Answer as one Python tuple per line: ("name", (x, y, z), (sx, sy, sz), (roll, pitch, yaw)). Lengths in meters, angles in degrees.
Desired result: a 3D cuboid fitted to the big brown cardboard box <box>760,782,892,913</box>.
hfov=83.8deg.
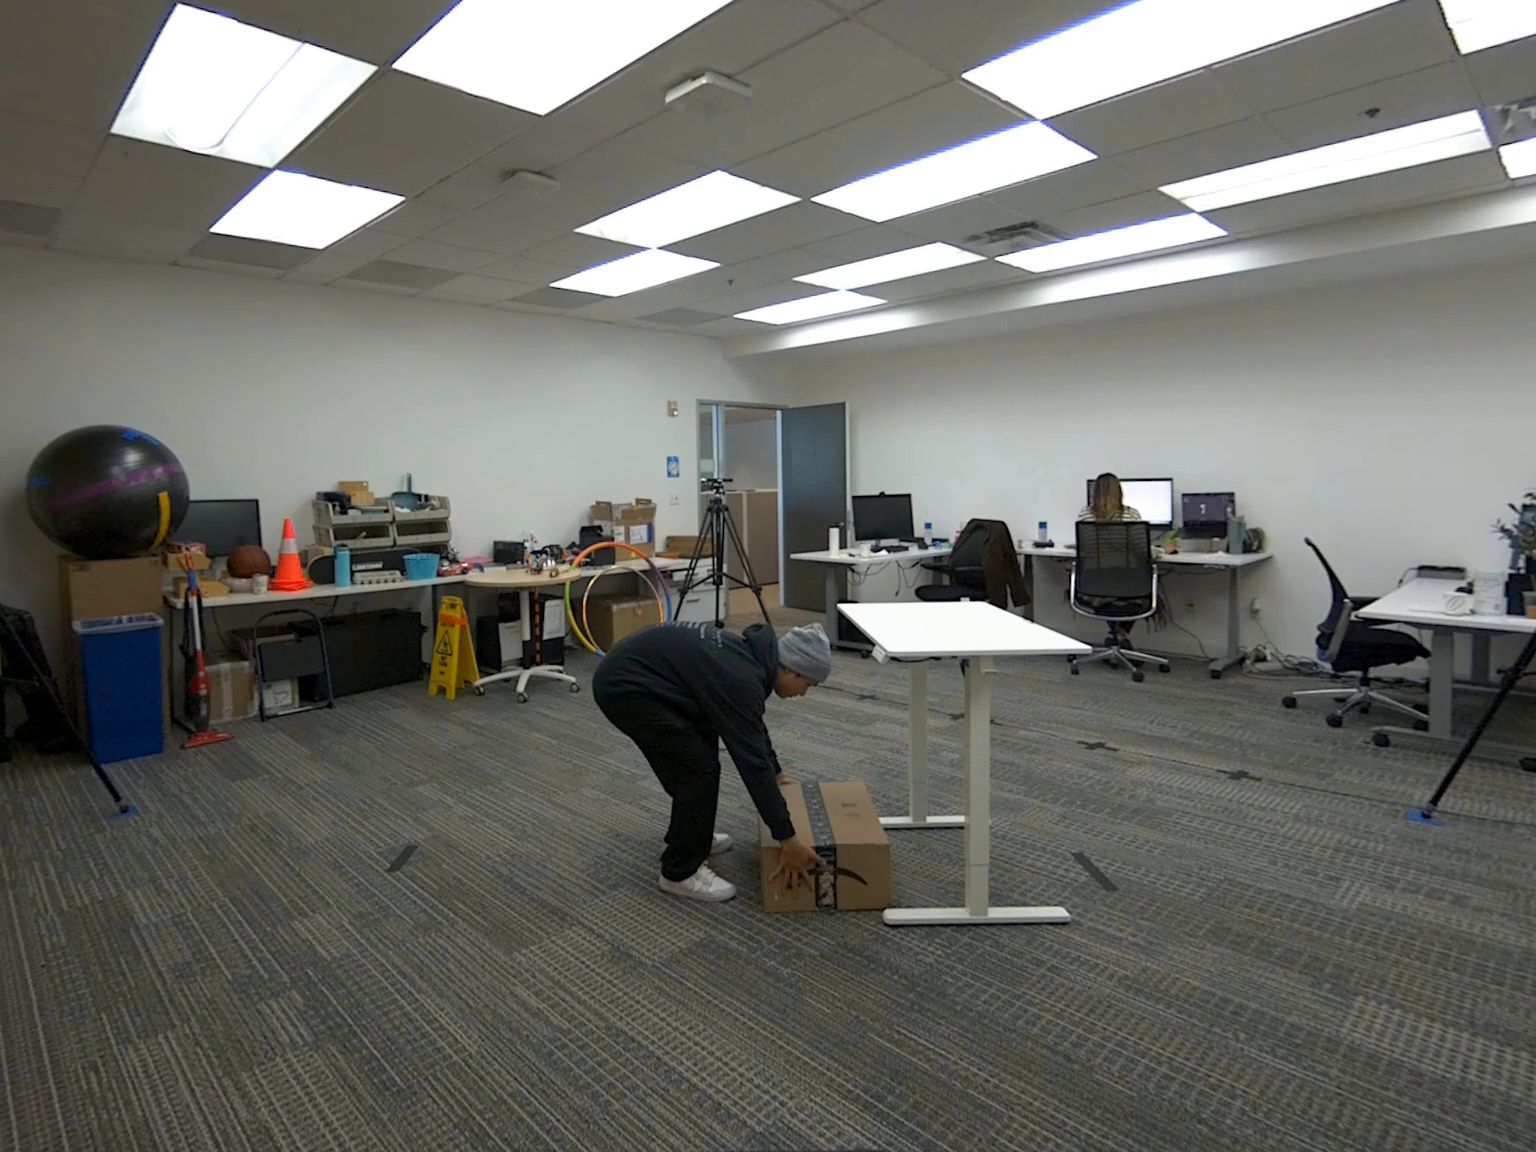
("big brown cardboard box", (0.180, 0.937, 3.020), (0.417, 0.232, 0.592), (-3, 7, -2))
